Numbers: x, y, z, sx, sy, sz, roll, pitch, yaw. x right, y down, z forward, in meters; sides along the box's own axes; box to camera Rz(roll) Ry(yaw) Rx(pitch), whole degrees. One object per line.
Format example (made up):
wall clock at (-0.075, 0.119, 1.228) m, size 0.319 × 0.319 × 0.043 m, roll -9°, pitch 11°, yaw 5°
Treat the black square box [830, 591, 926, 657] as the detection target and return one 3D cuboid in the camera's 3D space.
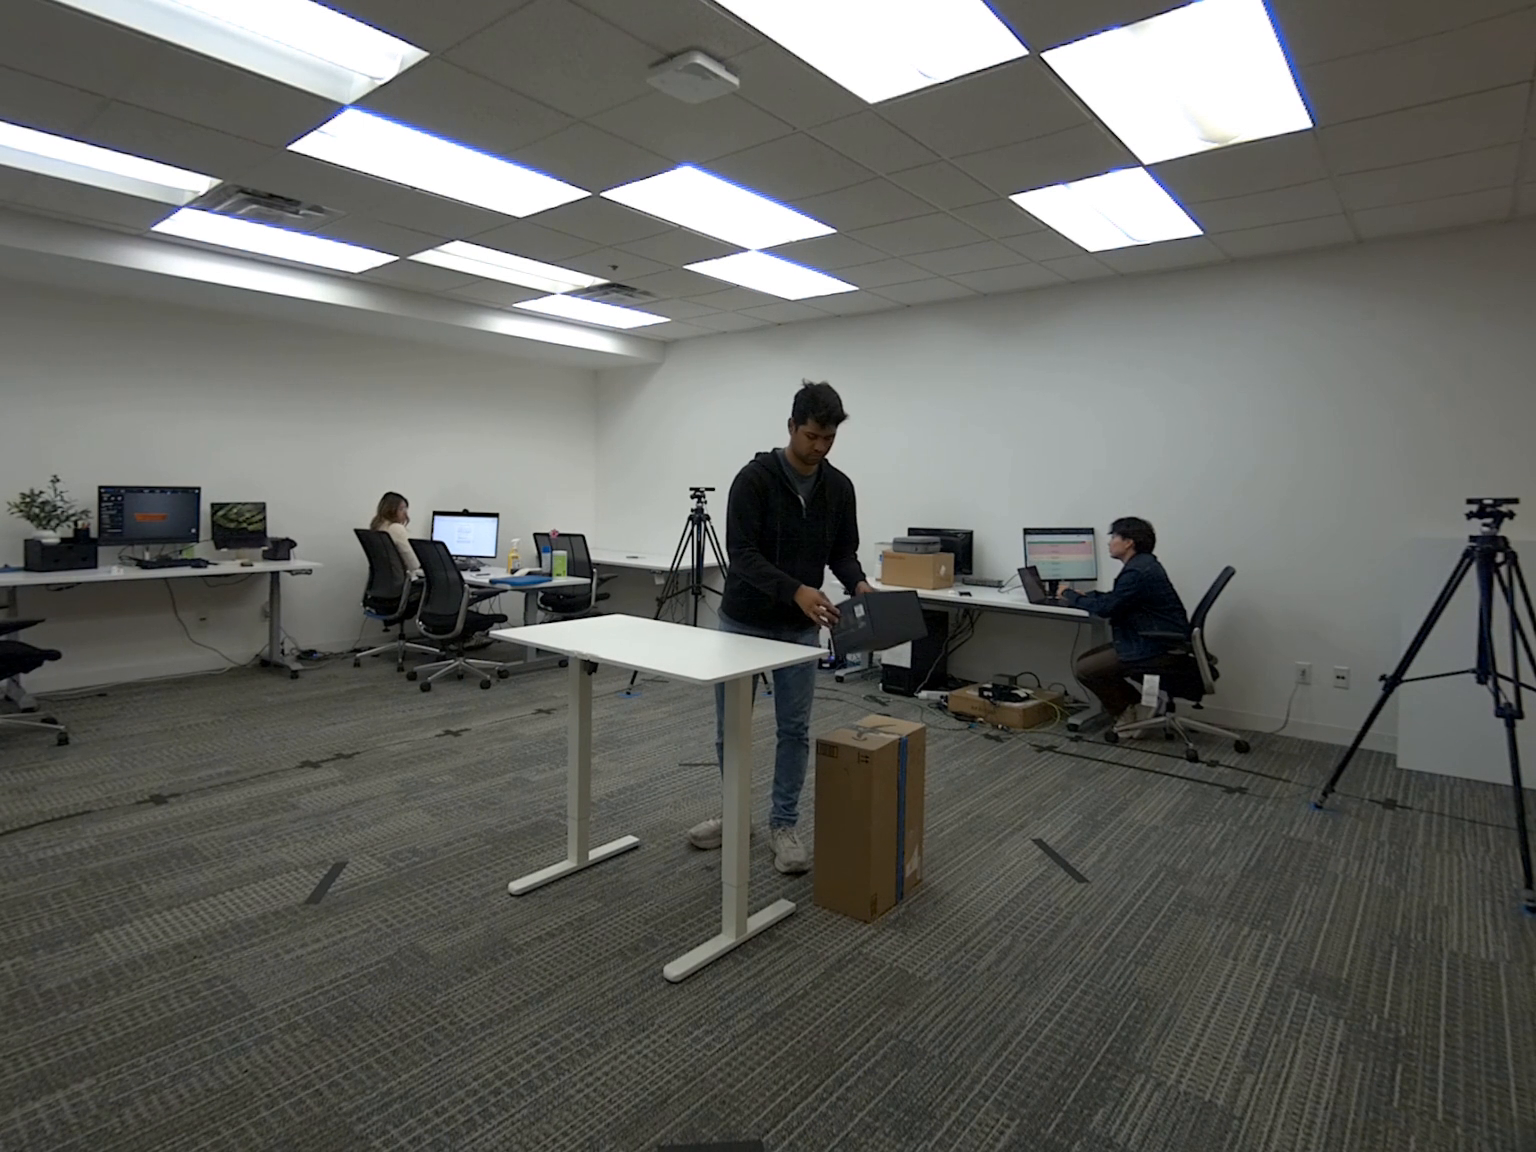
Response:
black square box at (0.332, 0.156, 2.801) m, size 0.221 × 0.159 × 0.219 m, roll 0°, pitch -18°, yaw -33°
